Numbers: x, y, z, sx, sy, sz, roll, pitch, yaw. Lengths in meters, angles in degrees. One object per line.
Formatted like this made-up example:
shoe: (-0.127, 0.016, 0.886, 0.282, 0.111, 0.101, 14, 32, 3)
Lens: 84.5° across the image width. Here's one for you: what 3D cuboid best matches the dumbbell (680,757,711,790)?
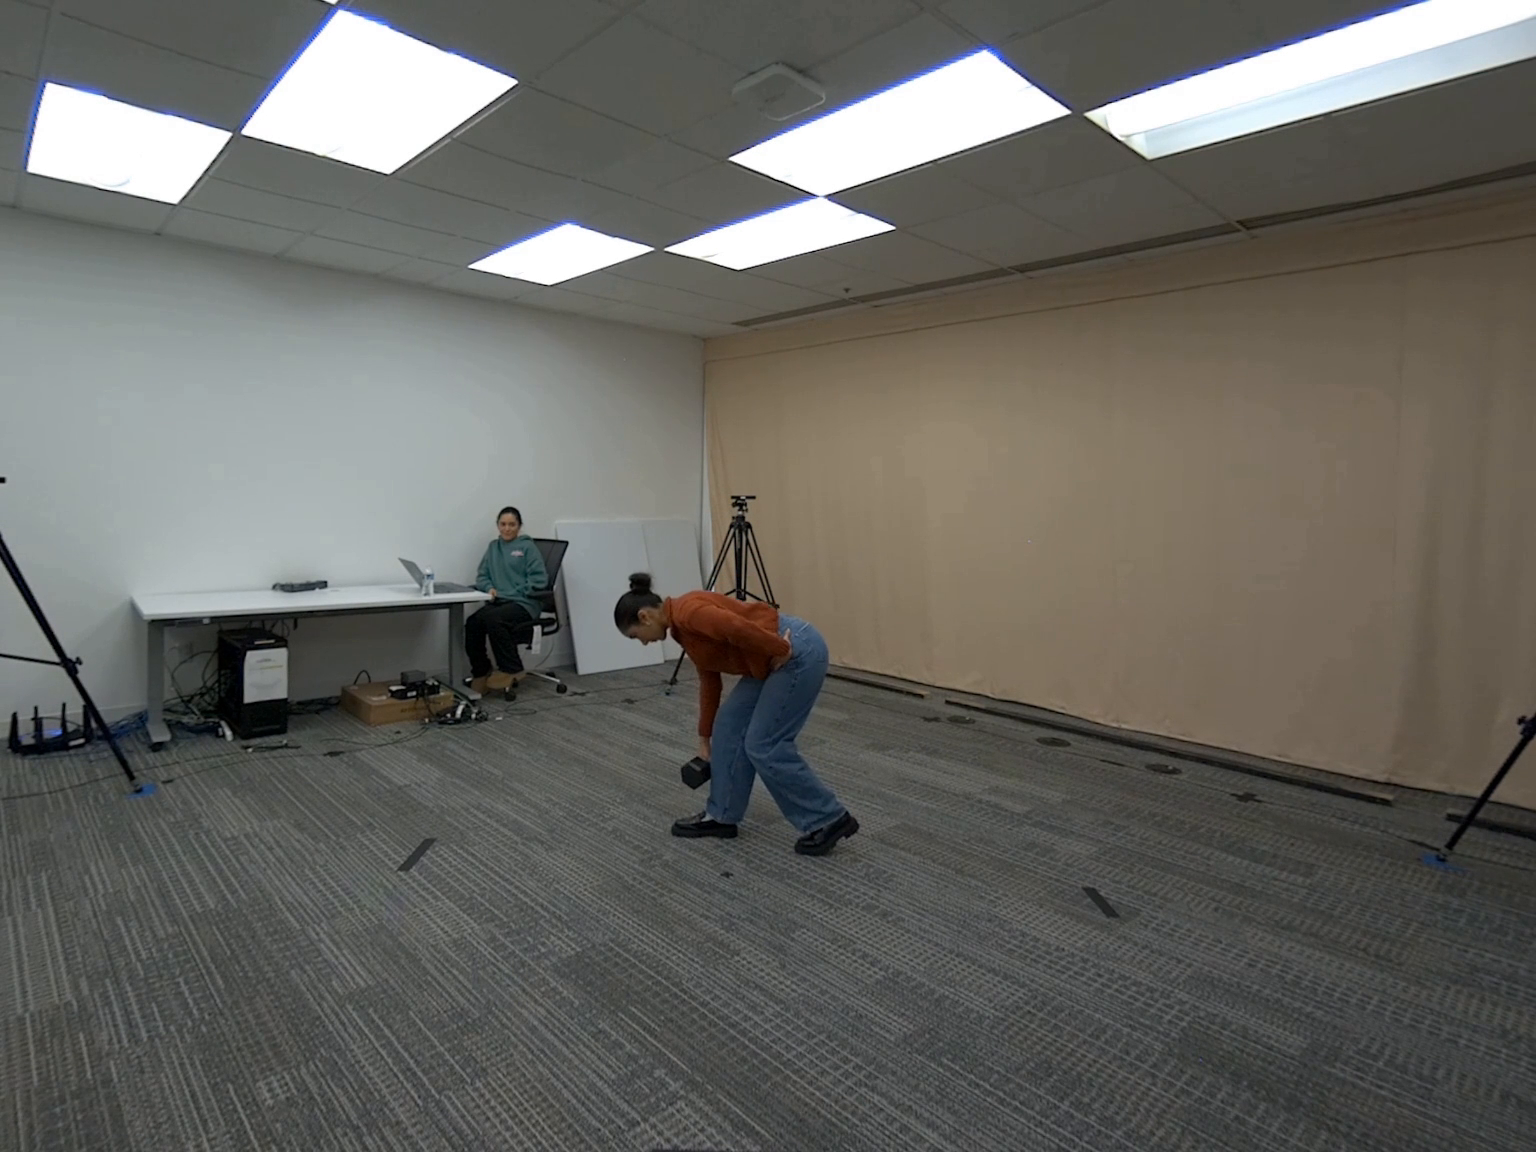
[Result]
dumbbell: (-0.253, 0.789, 3.543, 0.111, 0.122, 0.289, -4, 8, 30)
